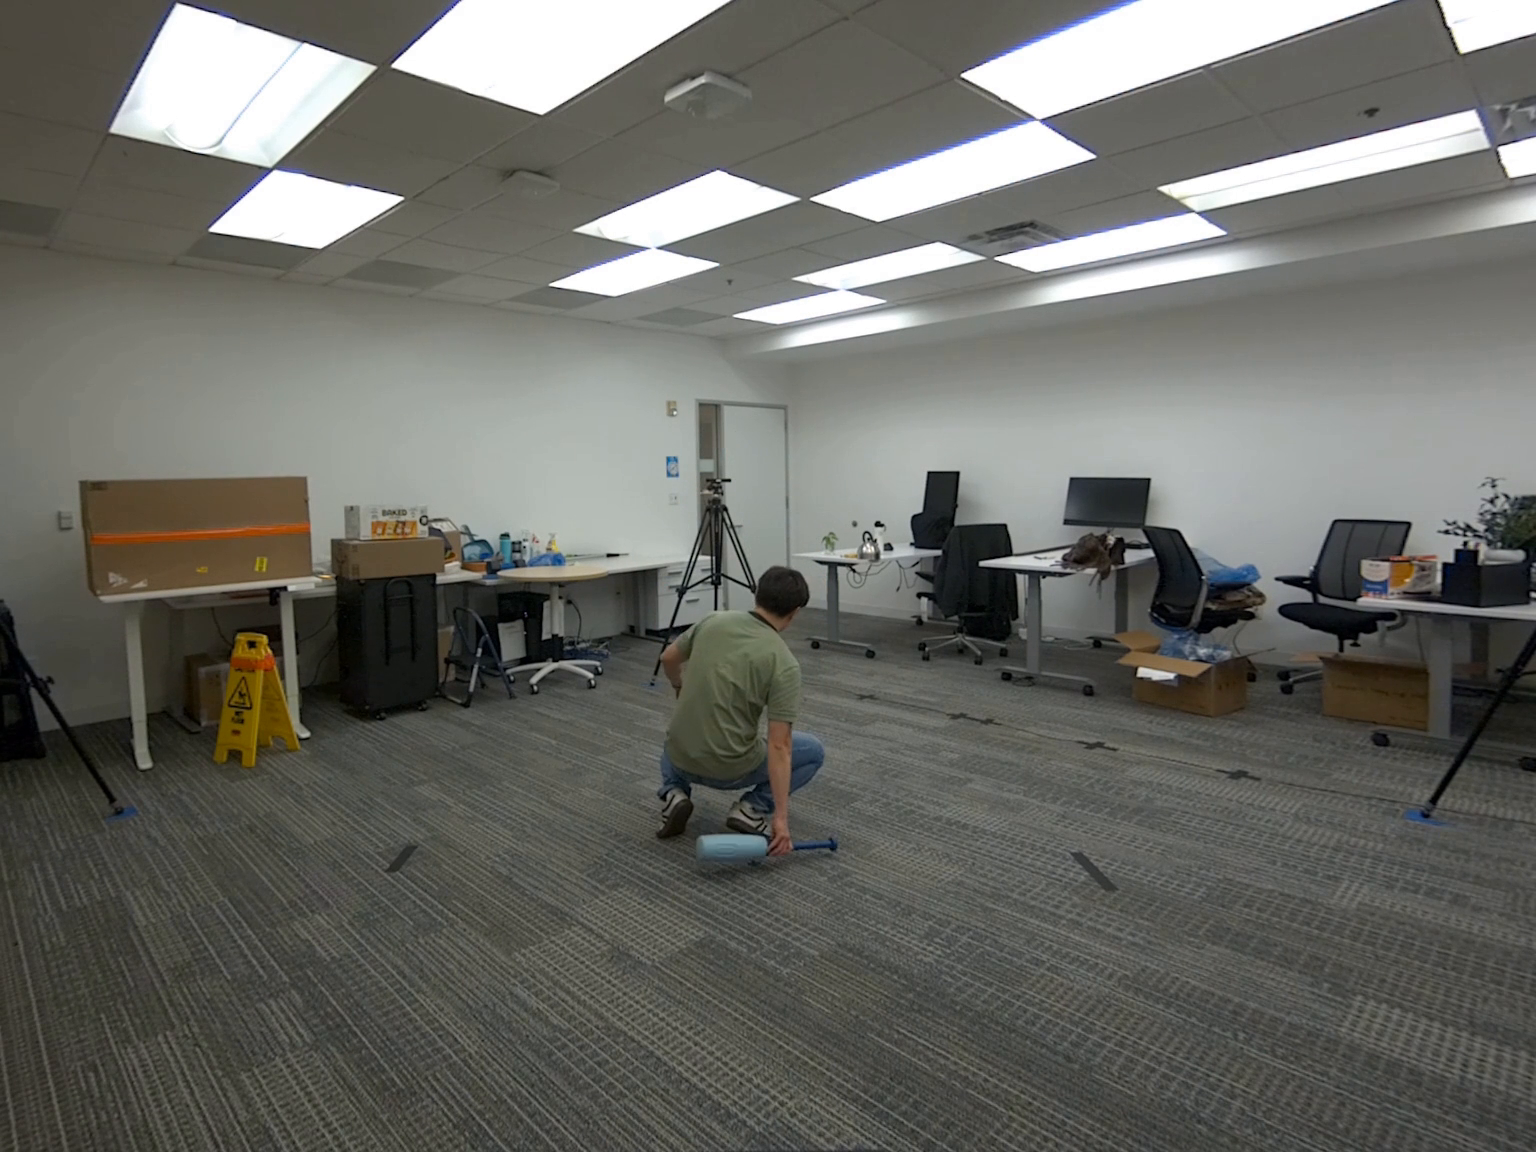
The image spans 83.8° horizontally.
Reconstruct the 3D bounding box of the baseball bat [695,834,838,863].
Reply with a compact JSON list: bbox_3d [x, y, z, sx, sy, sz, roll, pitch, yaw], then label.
[{"bbox_3d":[0.004,0.971,3.068,0.532,0.089,0.091,5,2,-20],"label":"baseball bat"}]
